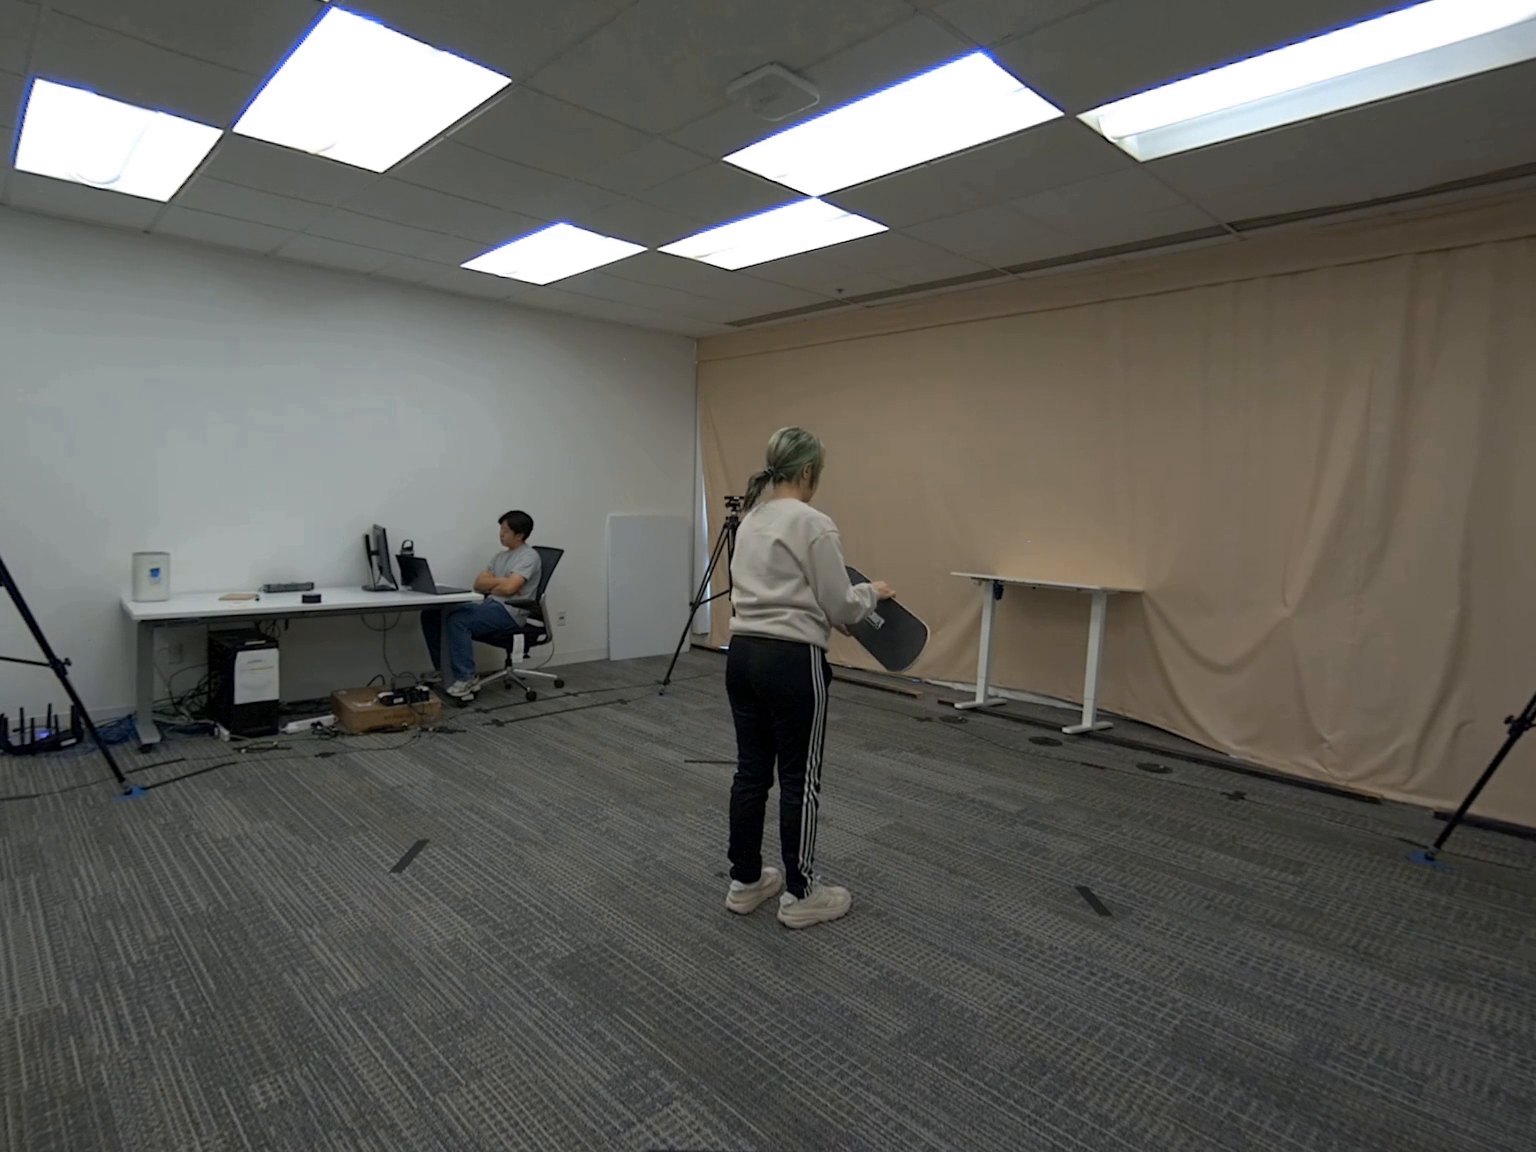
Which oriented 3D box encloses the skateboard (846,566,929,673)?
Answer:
[{"bbox_3d":[0.363,0.160,2.951,0.108,0.193,0.804,34,6,-24],"label":"skateboard"}]
